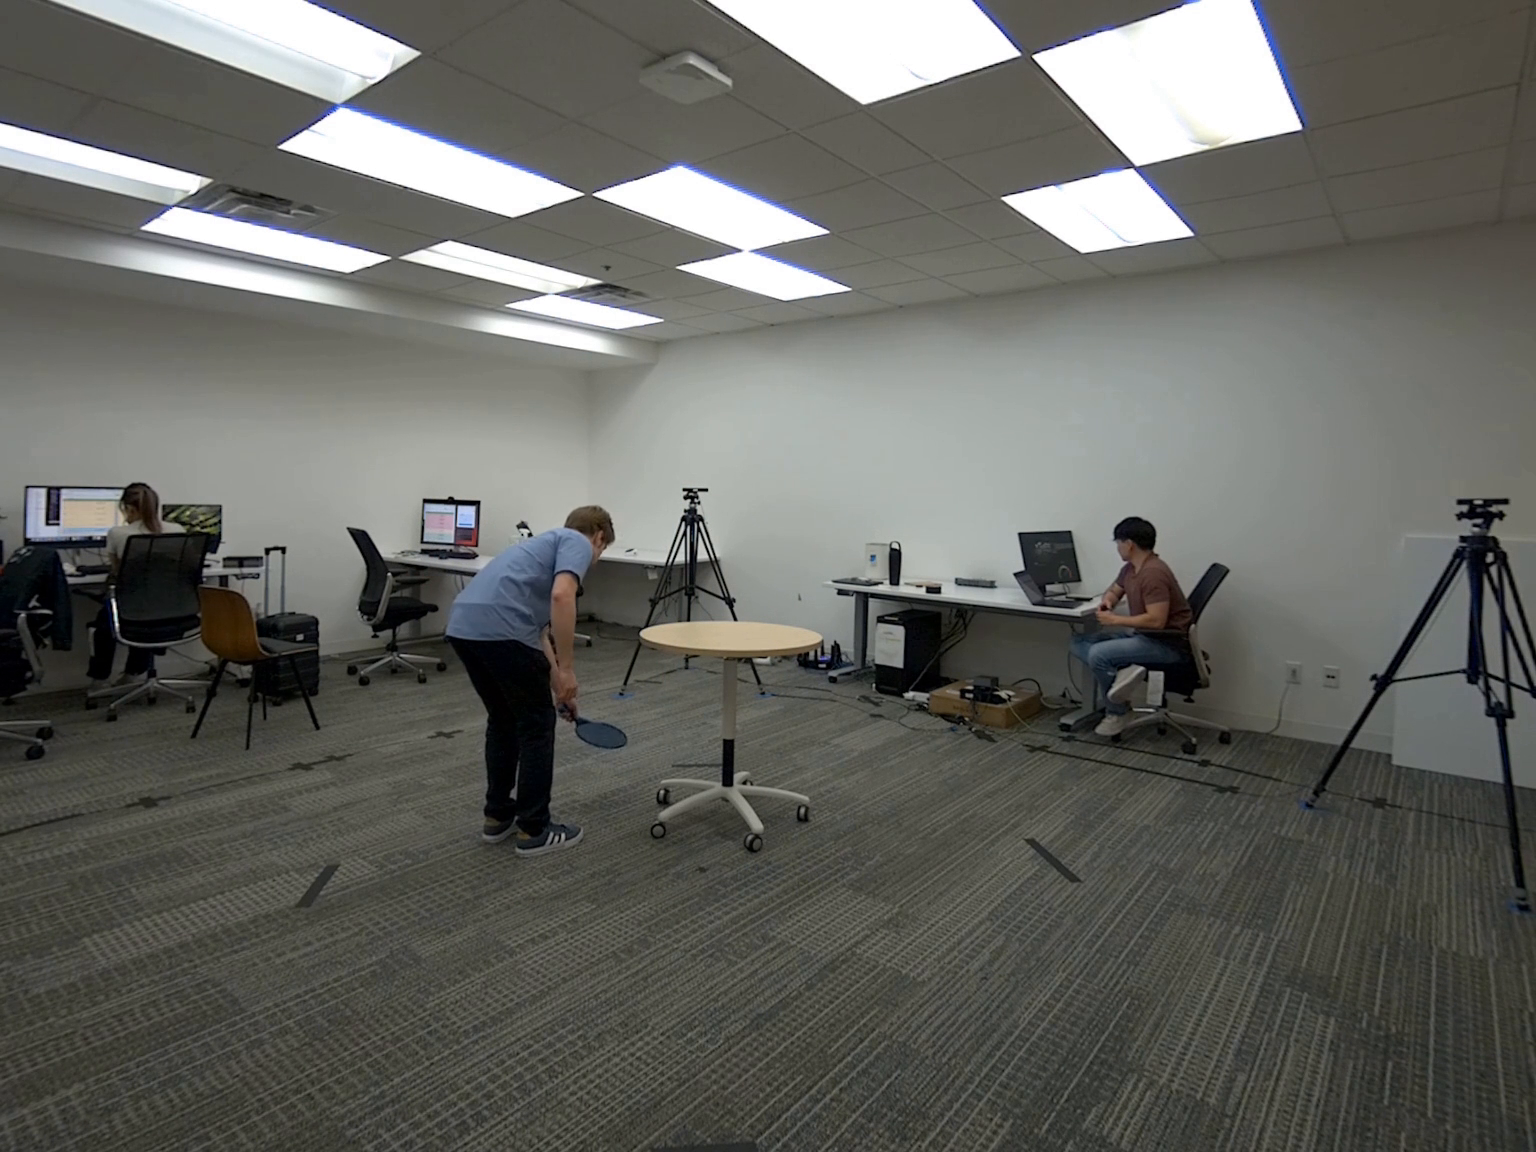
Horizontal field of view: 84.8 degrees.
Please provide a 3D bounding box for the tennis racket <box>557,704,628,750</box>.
[{"bbox_3d":[-0.821,0.678,3.765,0.217,0.032,0.415,-18,-43,24],"label":"tennis racket"}]
